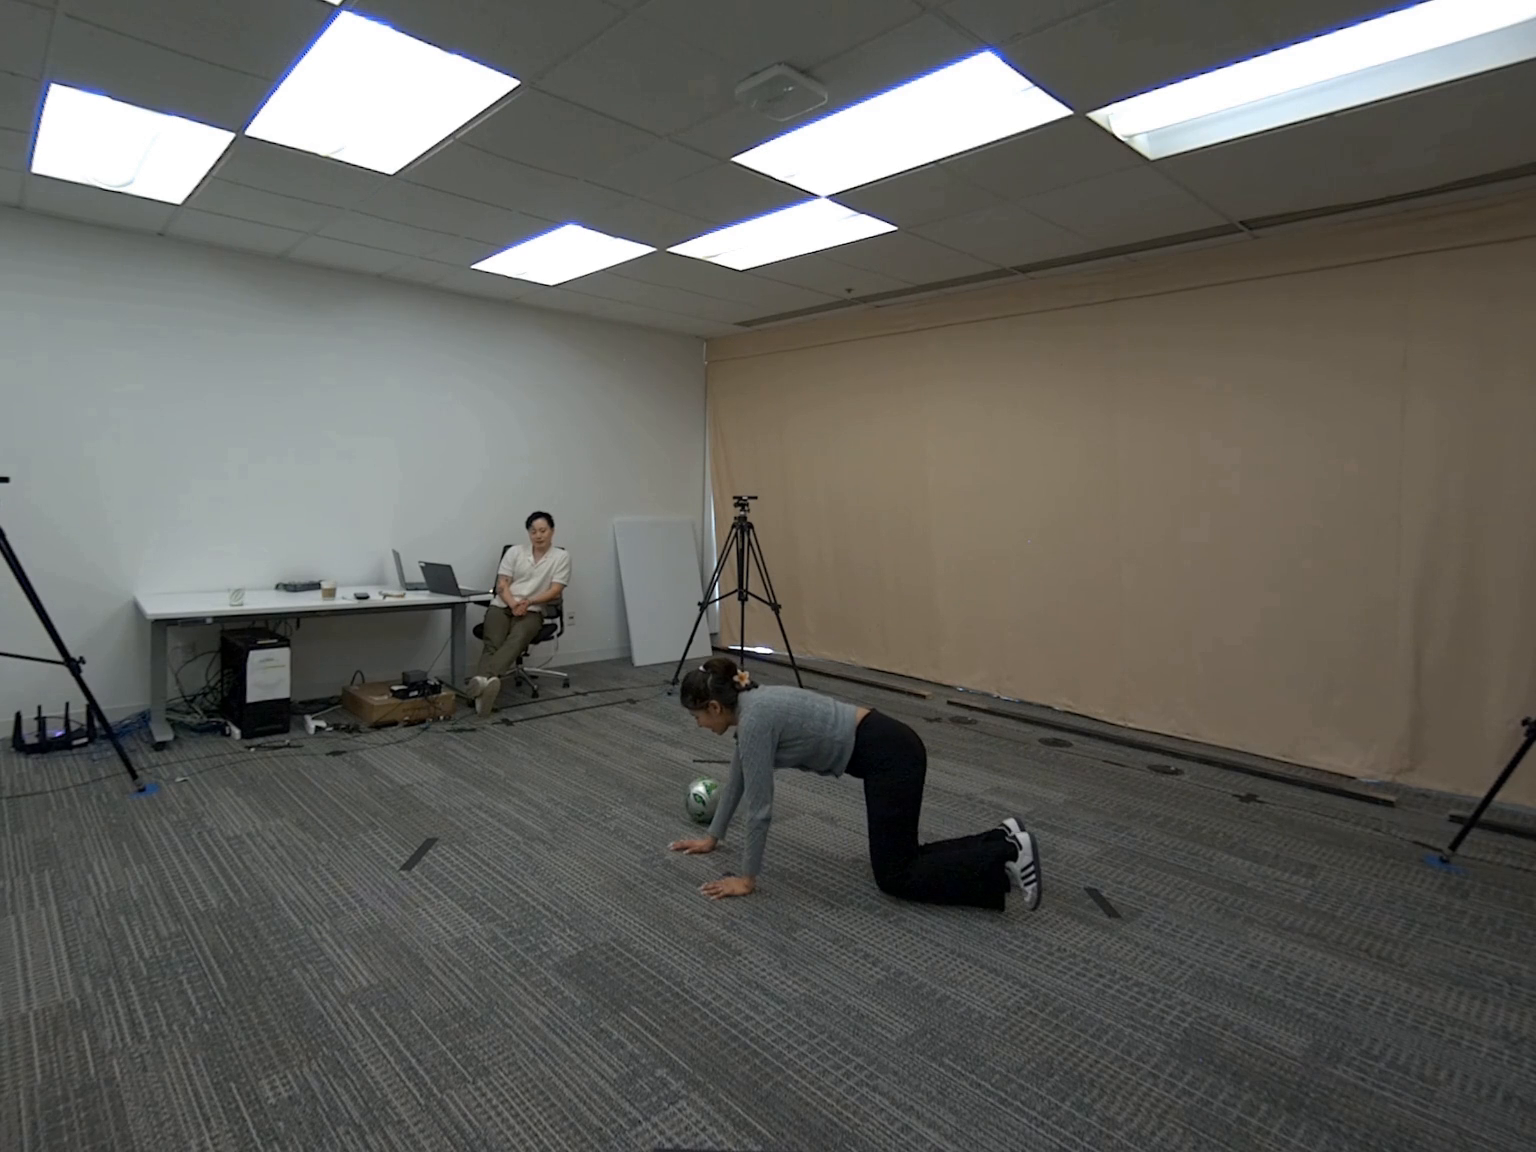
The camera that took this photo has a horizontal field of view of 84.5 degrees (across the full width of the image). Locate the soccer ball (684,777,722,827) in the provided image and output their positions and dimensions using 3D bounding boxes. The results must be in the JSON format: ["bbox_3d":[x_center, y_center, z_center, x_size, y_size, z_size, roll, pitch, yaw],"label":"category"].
[{"bbox_3d":[-0.283,0.959,3.622,0.187,0.187,0.188,1,4,-1],"label":"soccer ball"}]
